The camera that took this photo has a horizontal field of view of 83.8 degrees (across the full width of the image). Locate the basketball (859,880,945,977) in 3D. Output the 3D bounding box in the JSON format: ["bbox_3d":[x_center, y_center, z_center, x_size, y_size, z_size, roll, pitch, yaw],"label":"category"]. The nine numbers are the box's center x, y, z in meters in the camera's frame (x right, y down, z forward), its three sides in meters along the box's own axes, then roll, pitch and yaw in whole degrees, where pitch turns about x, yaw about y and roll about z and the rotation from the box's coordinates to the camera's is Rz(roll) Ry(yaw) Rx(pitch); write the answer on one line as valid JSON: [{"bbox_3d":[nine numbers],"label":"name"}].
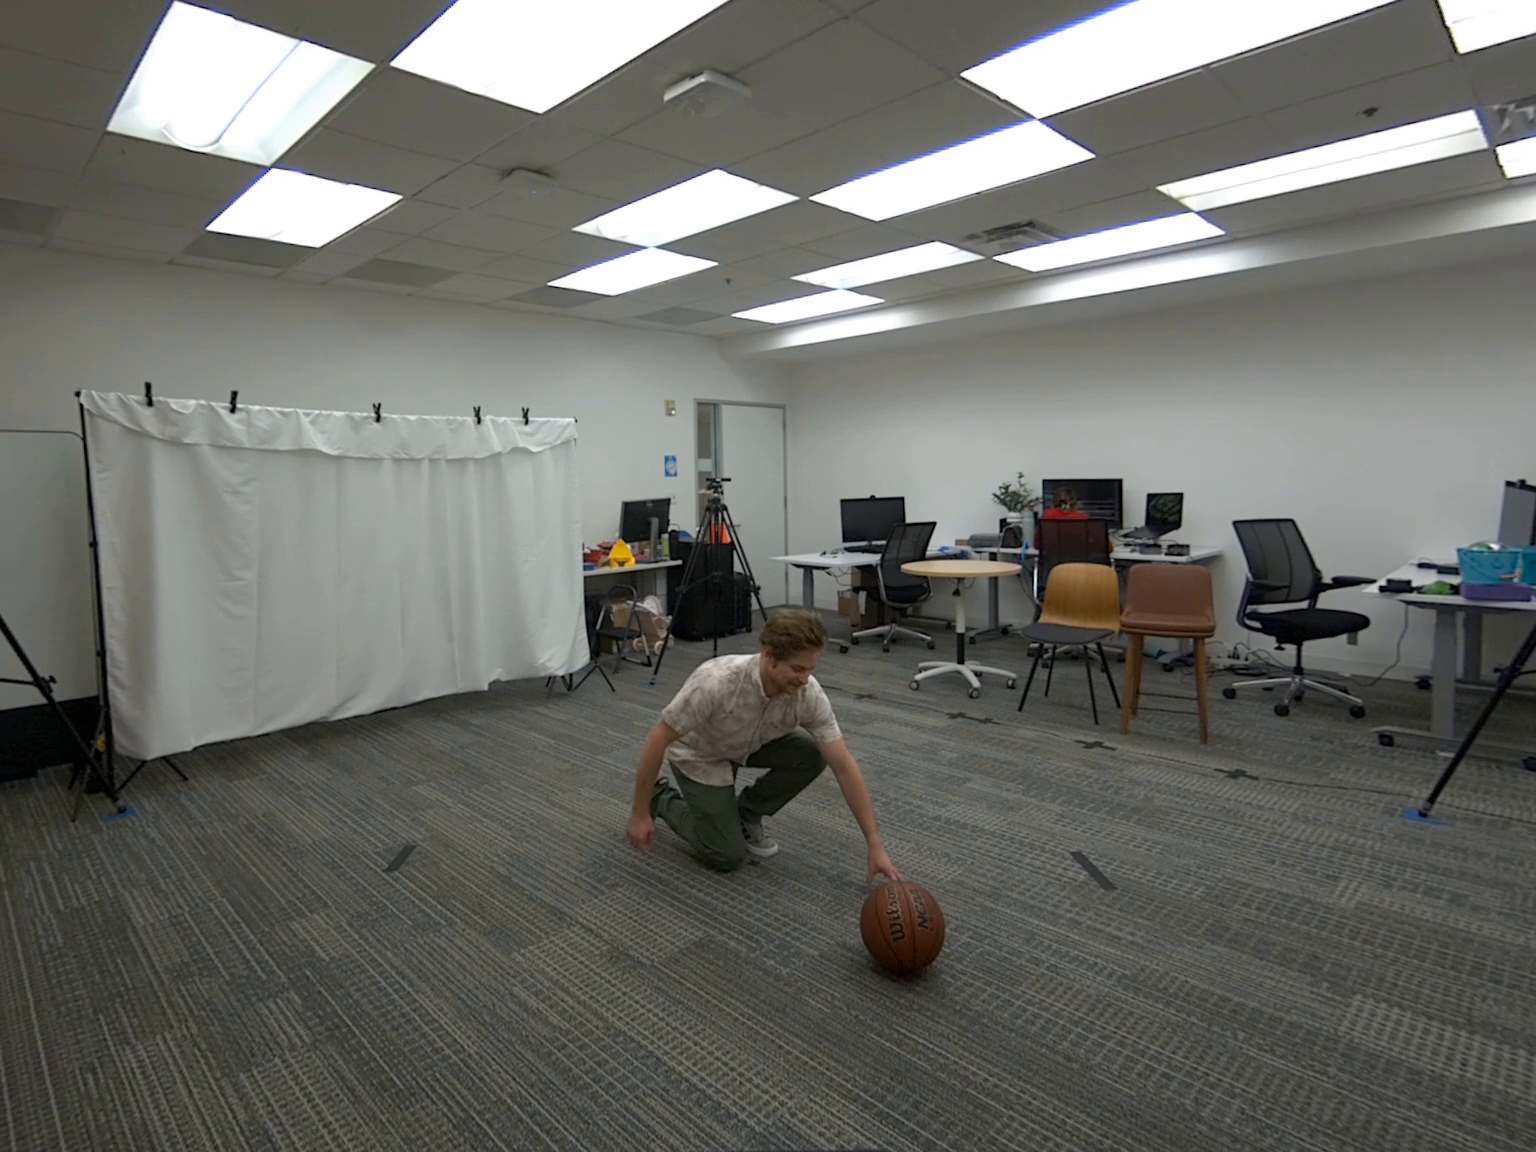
[{"bbox_3d":[0.385,0.991,2.427,0.236,0.235,0.237,-1,5,-2],"label":"basketball"}]
